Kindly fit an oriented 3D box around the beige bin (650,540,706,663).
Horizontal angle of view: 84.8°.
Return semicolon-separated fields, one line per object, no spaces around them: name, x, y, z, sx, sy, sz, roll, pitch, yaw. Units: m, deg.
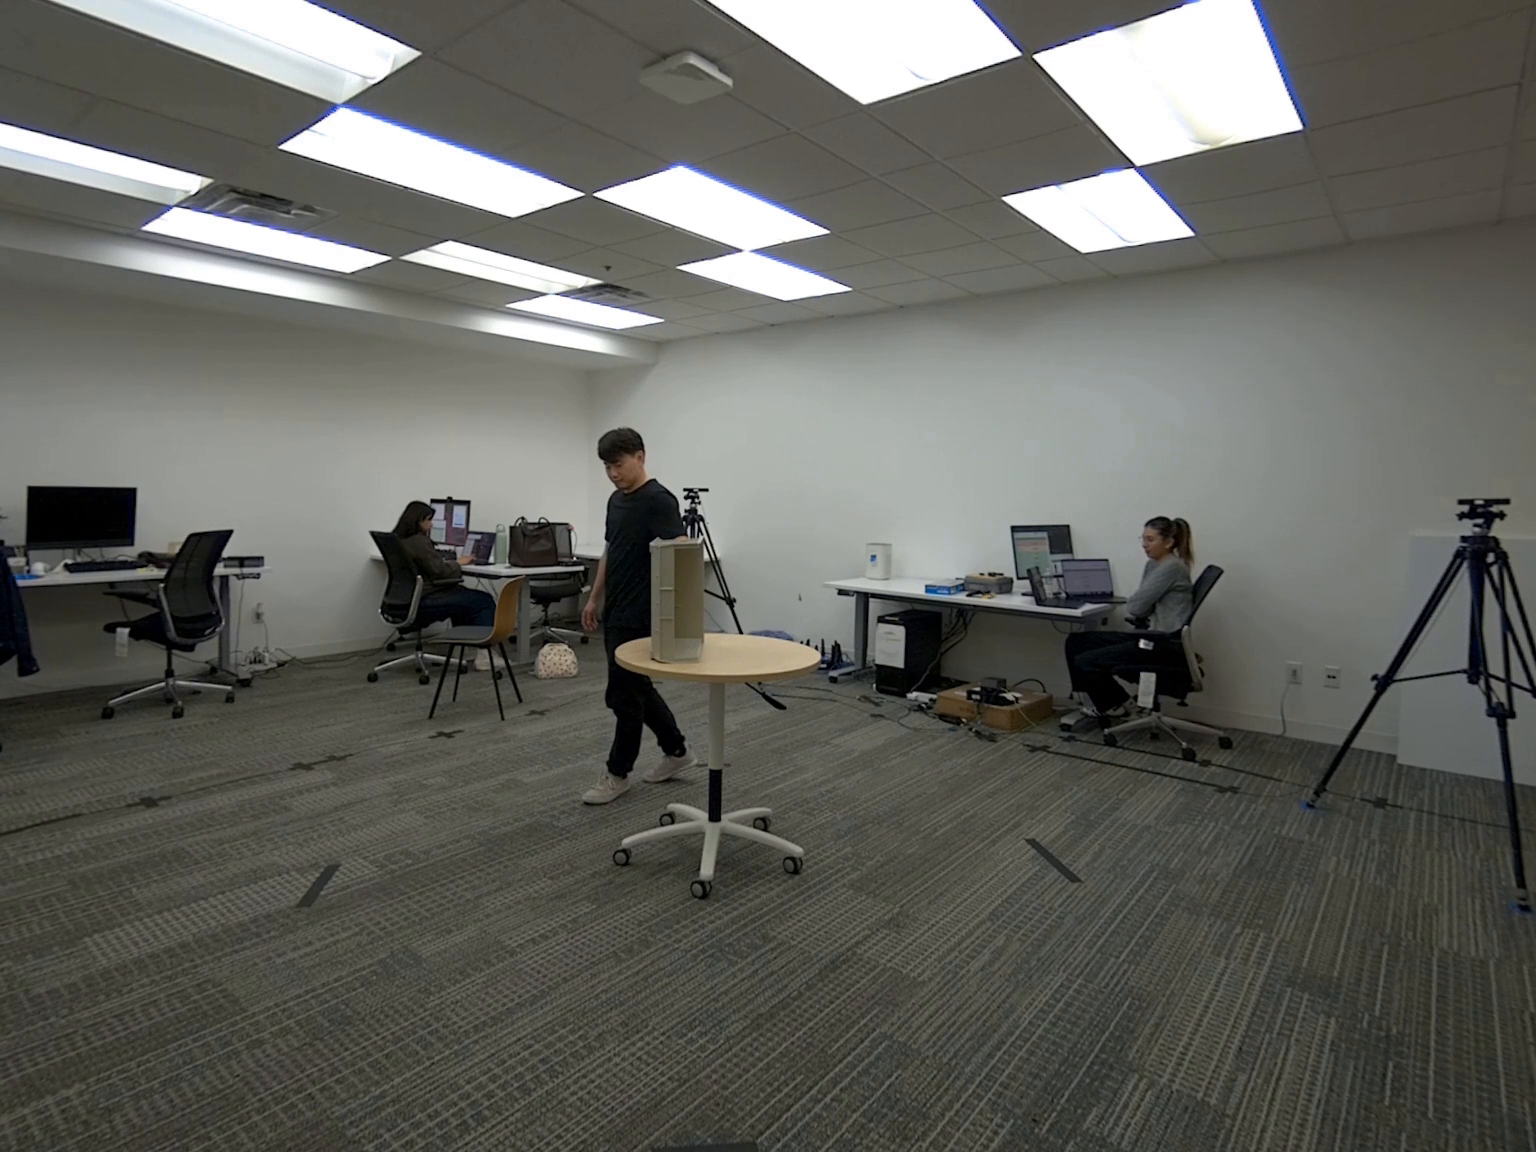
beige bin;-0.340;0.070;3.134;0.189;0.421;0.379;0;5;-1
